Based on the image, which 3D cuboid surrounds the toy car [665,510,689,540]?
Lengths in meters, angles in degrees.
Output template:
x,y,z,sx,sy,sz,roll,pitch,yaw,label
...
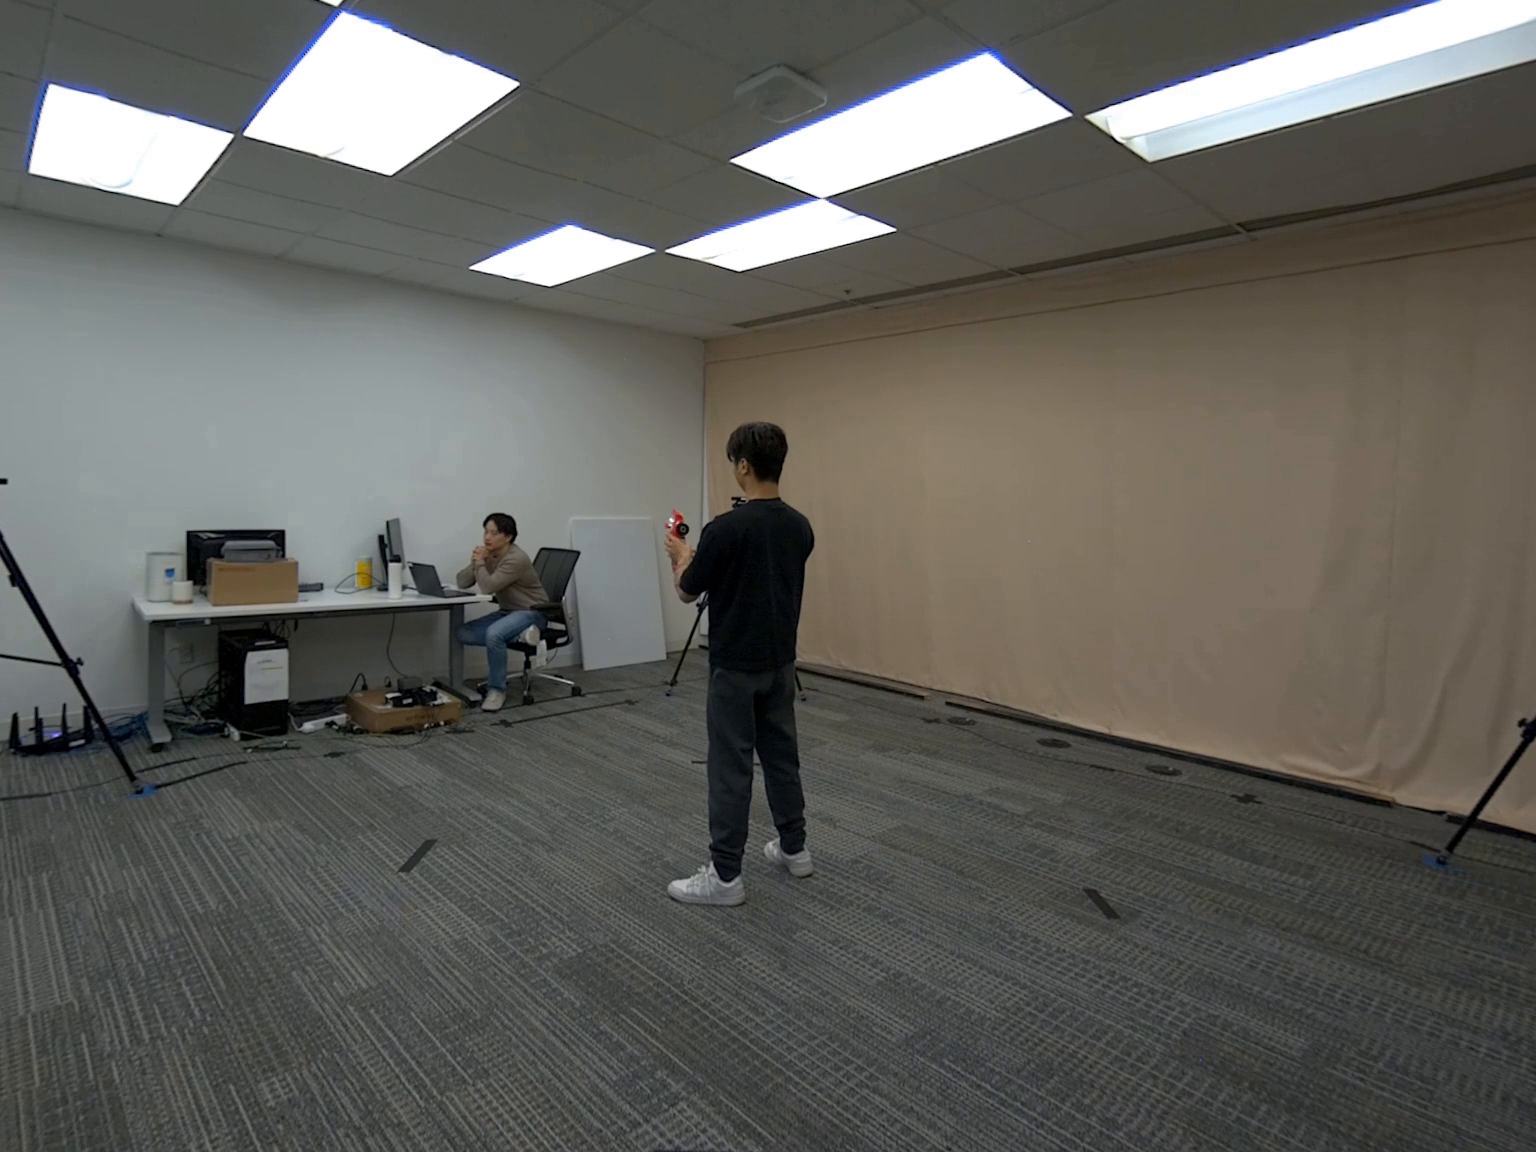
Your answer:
x,y,z,sx,sy,sz,roll,pitch,yaw,label
-0.351,-0.131,3.244,0.082,0.253,0.132,-10,7,-11,toy car
